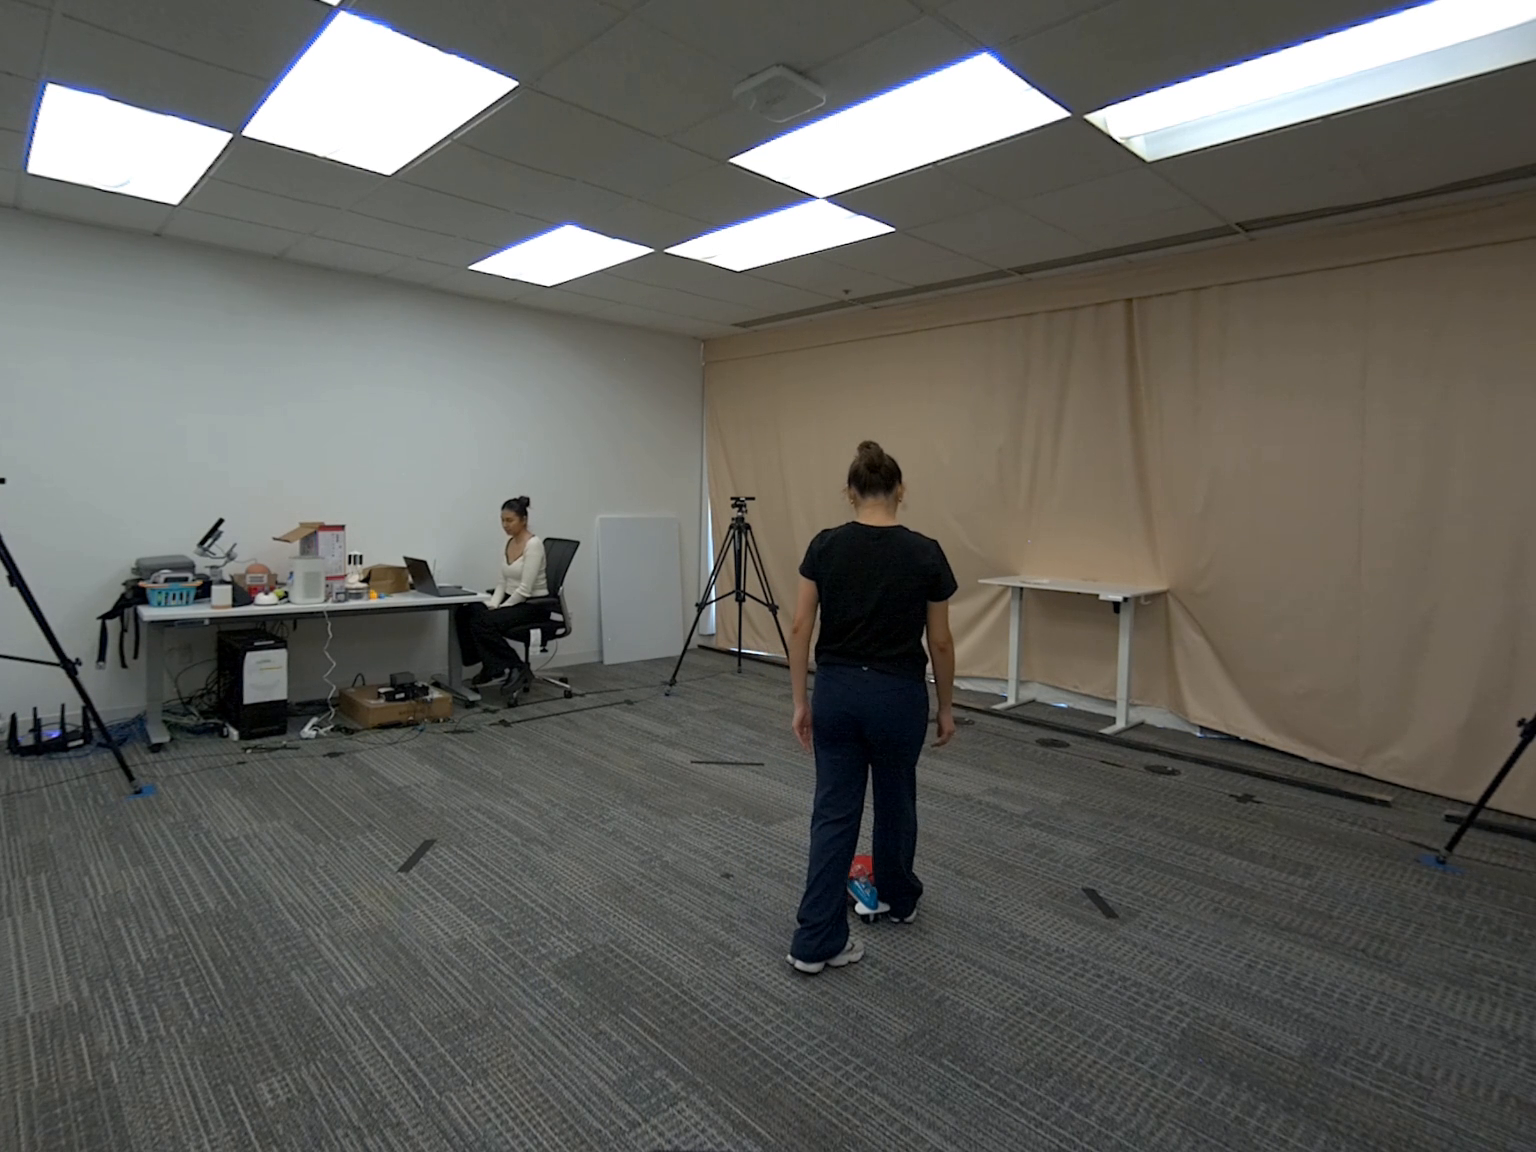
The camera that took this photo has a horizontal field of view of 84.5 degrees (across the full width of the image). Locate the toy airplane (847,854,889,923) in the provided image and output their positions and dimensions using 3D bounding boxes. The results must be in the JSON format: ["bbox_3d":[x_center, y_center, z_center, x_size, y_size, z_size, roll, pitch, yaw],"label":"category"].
[{"bbox_3d":[0.325,1.065,2.859,0.266,0.156,0.245,6,7,43],"label":"toy airplane"}]
